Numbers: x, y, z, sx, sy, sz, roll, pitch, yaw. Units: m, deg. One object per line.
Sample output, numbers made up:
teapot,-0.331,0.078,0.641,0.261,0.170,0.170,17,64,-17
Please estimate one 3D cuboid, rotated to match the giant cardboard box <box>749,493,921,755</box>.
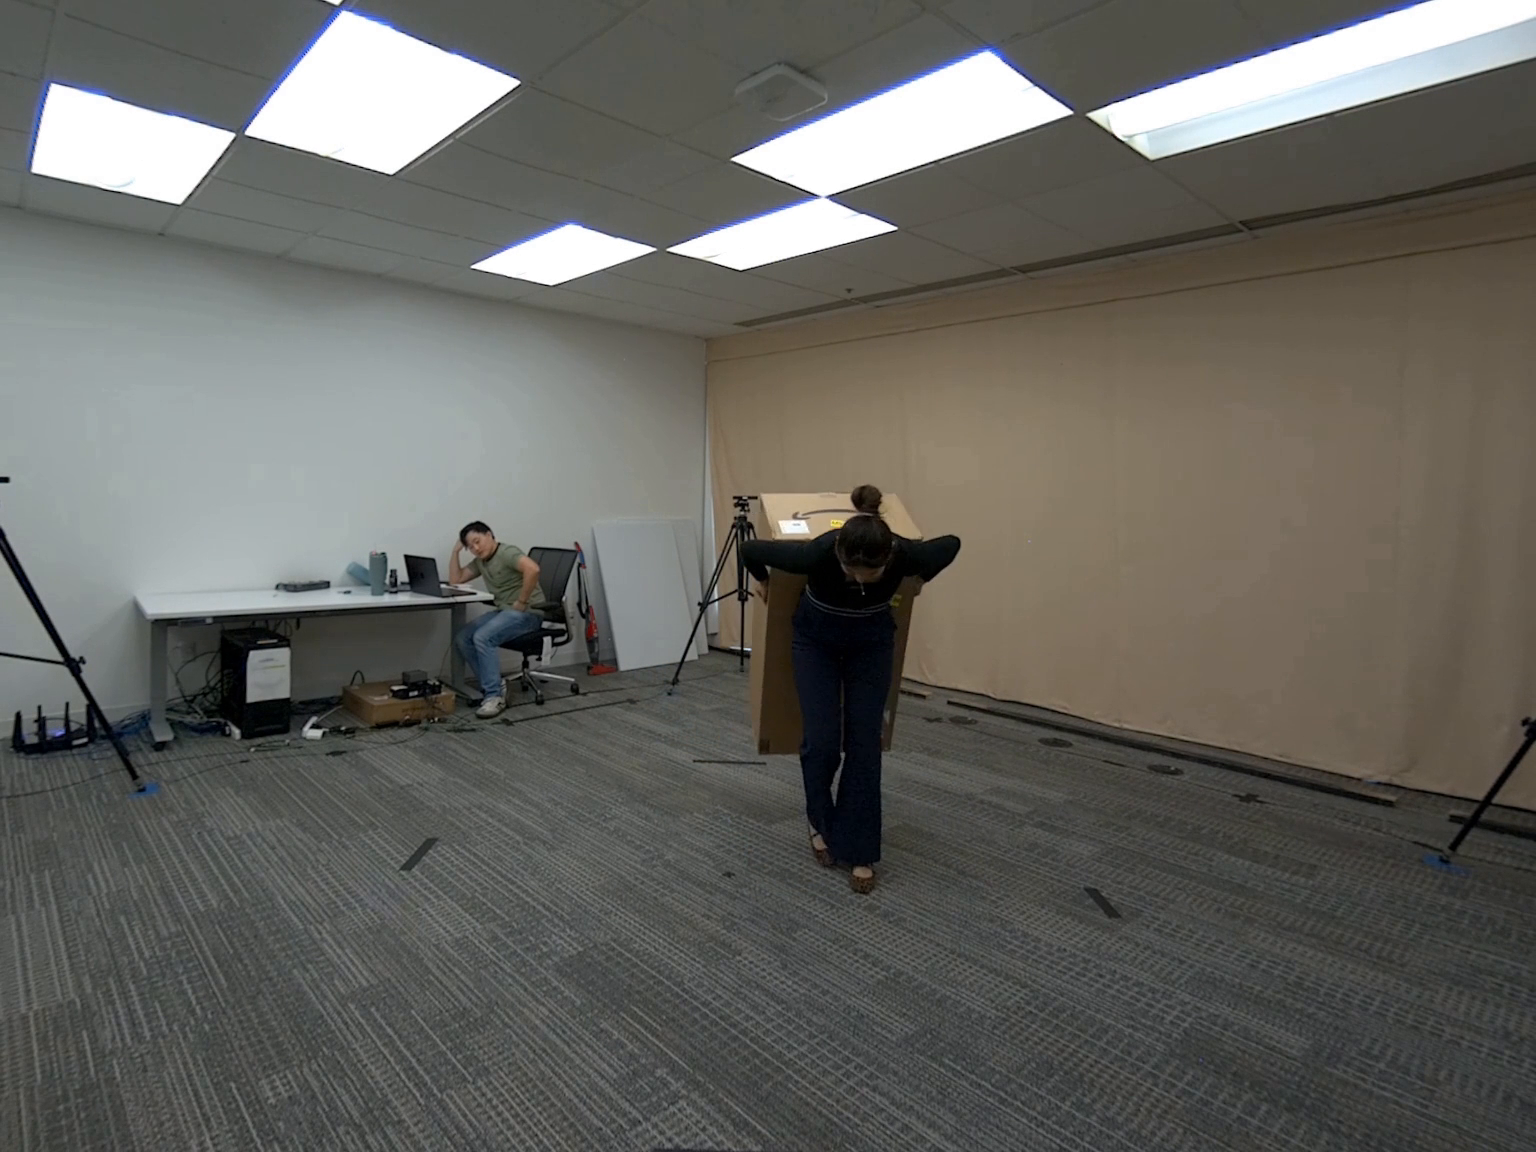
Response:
giant cardboard box,0.233,0.206,3.531,0.575,1.008,0.435,0,27,-6
